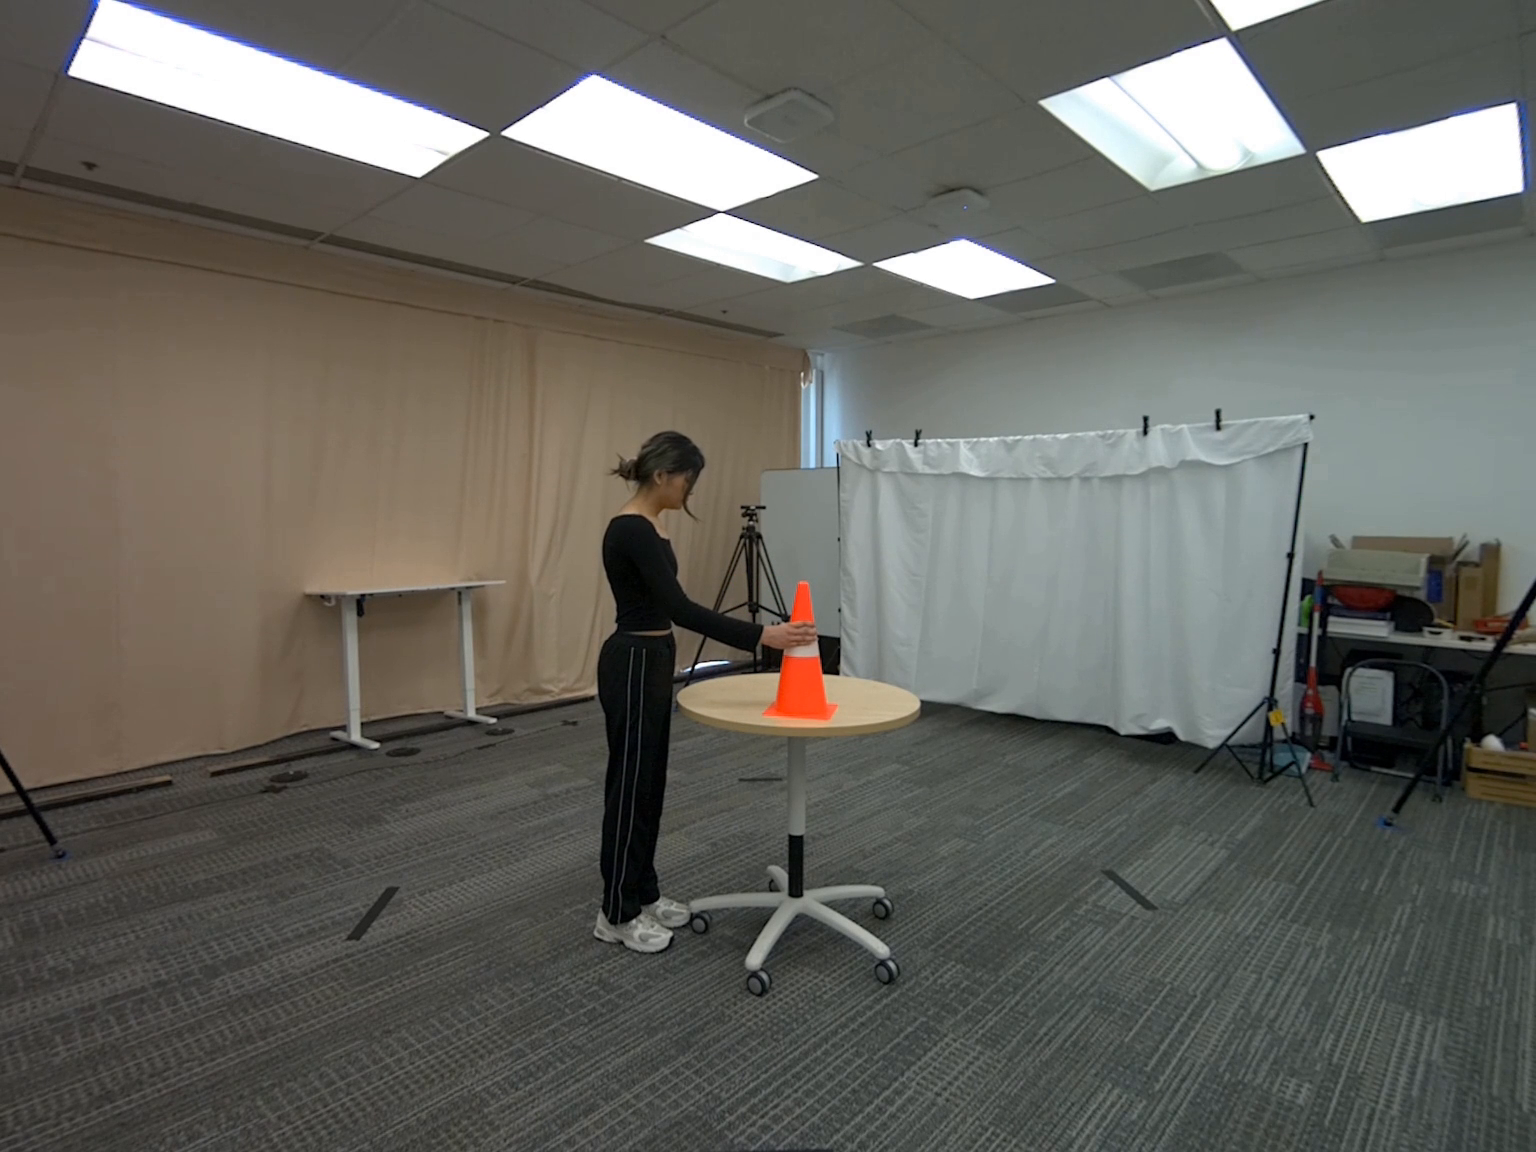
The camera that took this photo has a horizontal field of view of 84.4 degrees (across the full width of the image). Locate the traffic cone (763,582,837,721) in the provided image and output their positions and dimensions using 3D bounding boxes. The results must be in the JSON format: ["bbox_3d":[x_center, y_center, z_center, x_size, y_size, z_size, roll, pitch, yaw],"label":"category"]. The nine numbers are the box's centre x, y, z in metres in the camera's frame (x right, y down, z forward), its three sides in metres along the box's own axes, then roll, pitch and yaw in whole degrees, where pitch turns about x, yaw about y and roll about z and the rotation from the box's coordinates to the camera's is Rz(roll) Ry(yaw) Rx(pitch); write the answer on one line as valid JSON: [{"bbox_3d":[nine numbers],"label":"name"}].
[{"bbox_3d":[0.094,0.212,2.480,0.205,0.382,0.204,-3,4,6],"label":"traffic cone"}]
